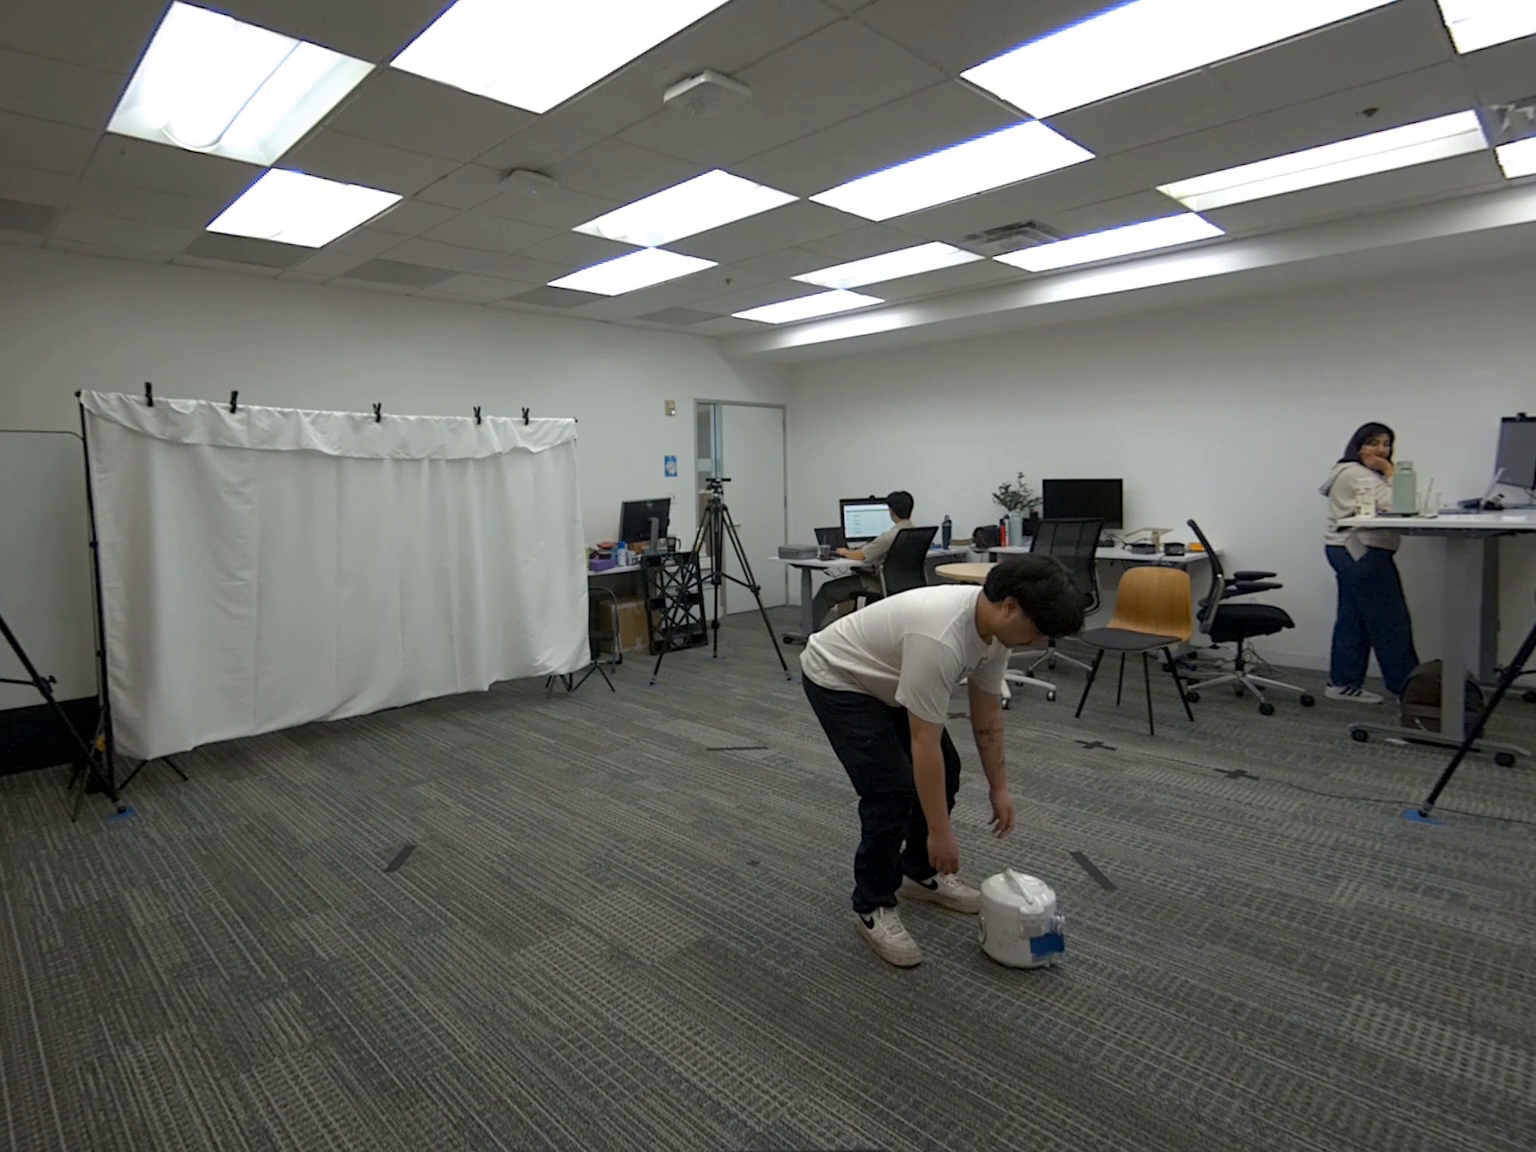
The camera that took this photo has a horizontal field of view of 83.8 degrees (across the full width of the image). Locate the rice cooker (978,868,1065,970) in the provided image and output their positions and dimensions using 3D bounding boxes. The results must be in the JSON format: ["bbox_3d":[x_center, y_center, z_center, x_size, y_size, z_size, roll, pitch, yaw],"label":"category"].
[{"bbox_3d":[0.726,0.979,2.479,0.217,0.232,0.222,0,4,-3],"label":"rice cooker"}]
